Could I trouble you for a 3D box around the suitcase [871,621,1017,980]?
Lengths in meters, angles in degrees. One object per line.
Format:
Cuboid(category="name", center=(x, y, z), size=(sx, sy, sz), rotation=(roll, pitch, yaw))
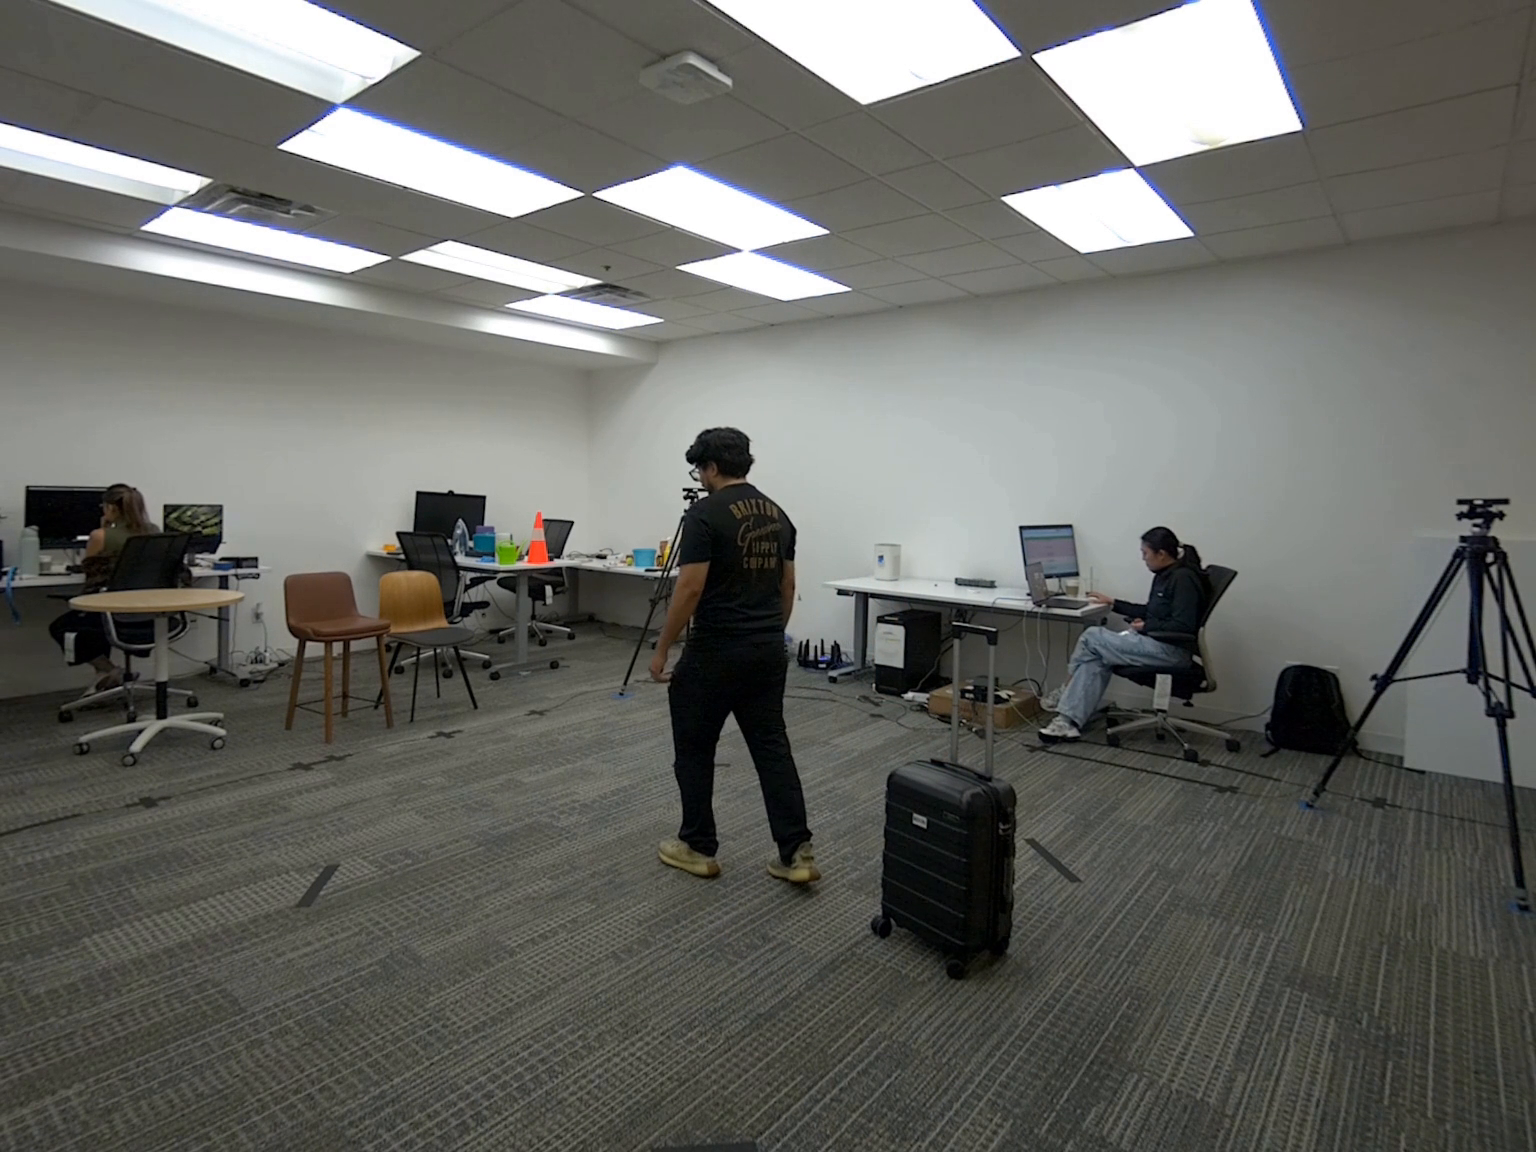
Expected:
Cuboid(category="suitcase", center=(0.555, 0.656, 2.606), size=(0.249, 0.976, 0.397), rotation=(-1, 4, -39))
